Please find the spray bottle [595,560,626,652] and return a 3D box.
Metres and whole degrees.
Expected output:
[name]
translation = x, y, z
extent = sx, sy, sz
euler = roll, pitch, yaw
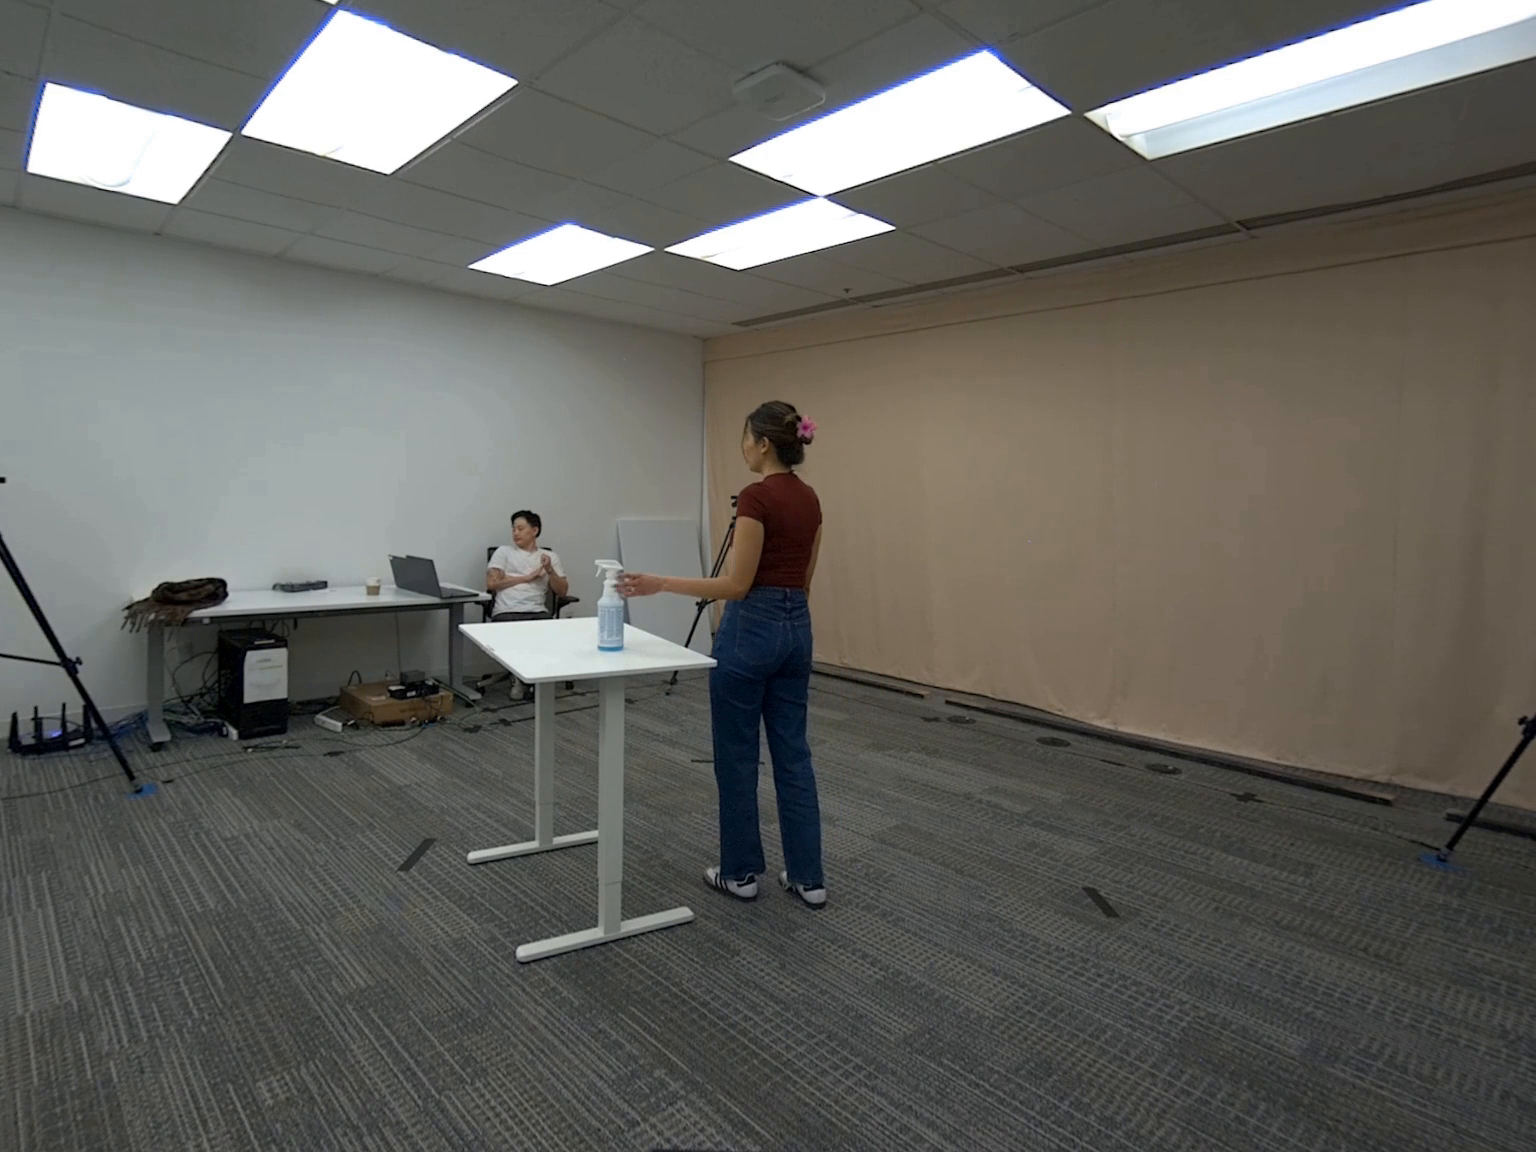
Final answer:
[spray bottle]
translation = -0.521, 0.098, 2.770
extent = 0.091, 0.297, 0.086
euler = 0, 2, 8
